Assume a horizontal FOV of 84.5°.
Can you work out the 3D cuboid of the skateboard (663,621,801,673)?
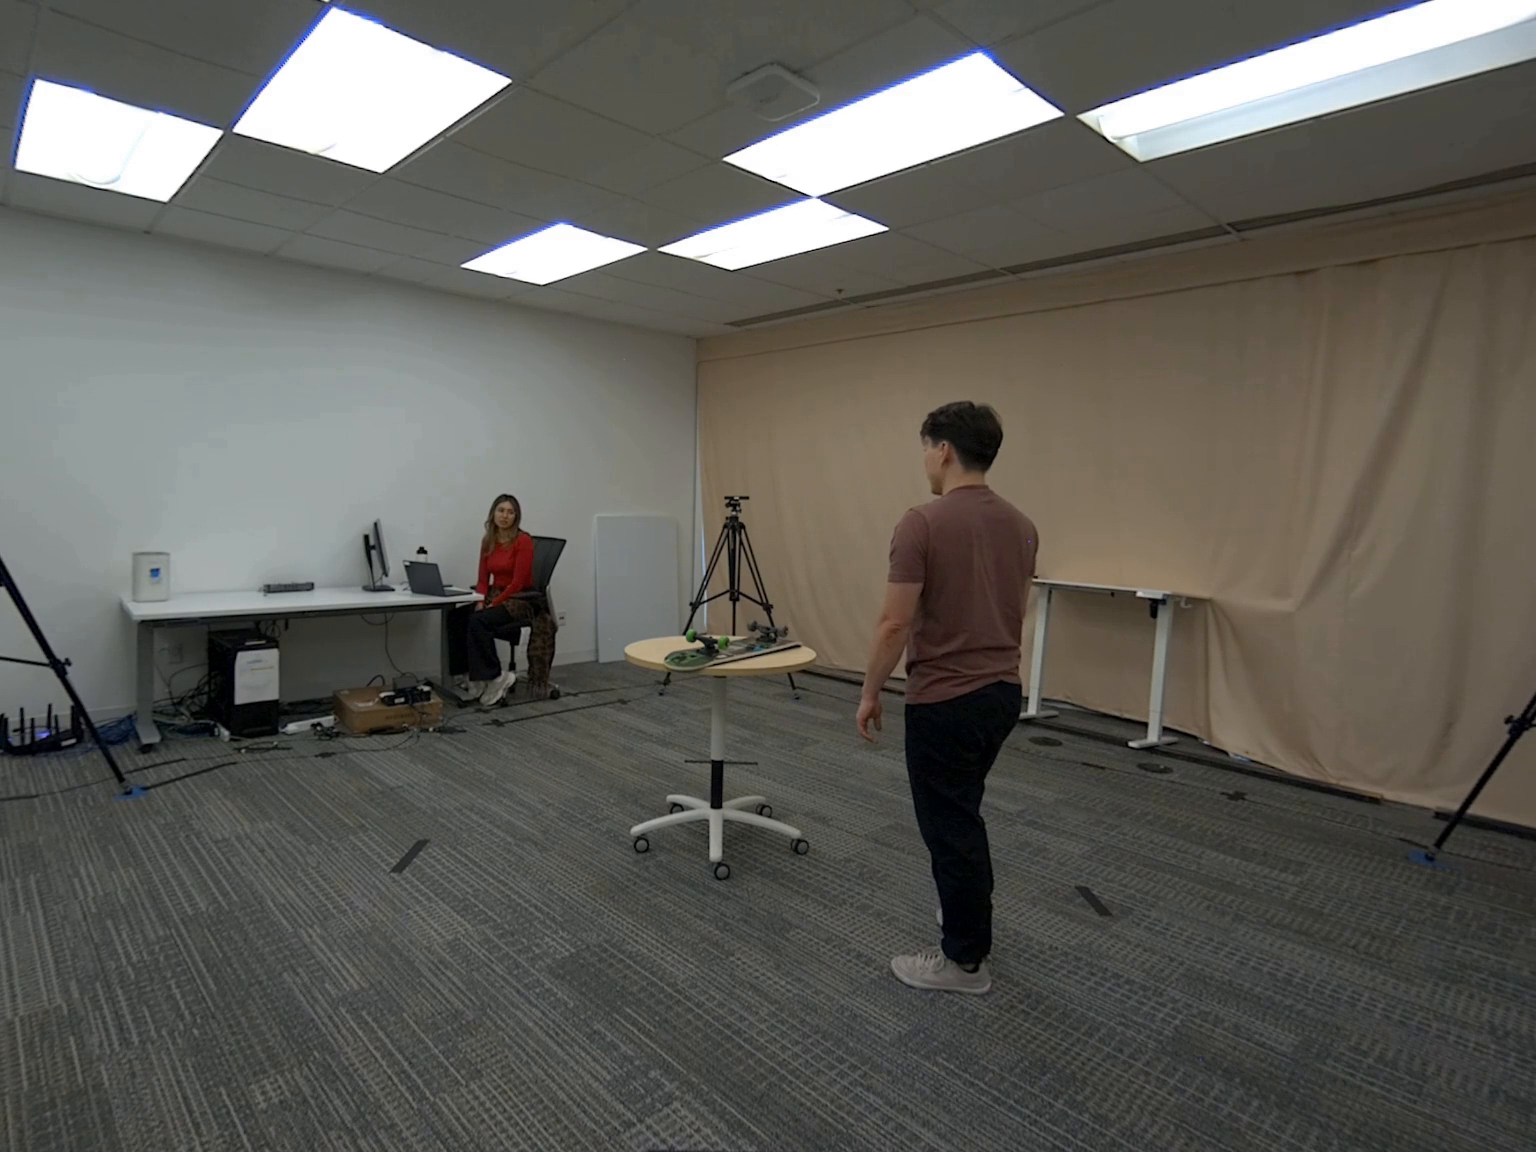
[{"bbox_3d":[-0.126,0.258,3.300,0.198,0.110,0.768,8,8,35],"label":"skateboard"}]
